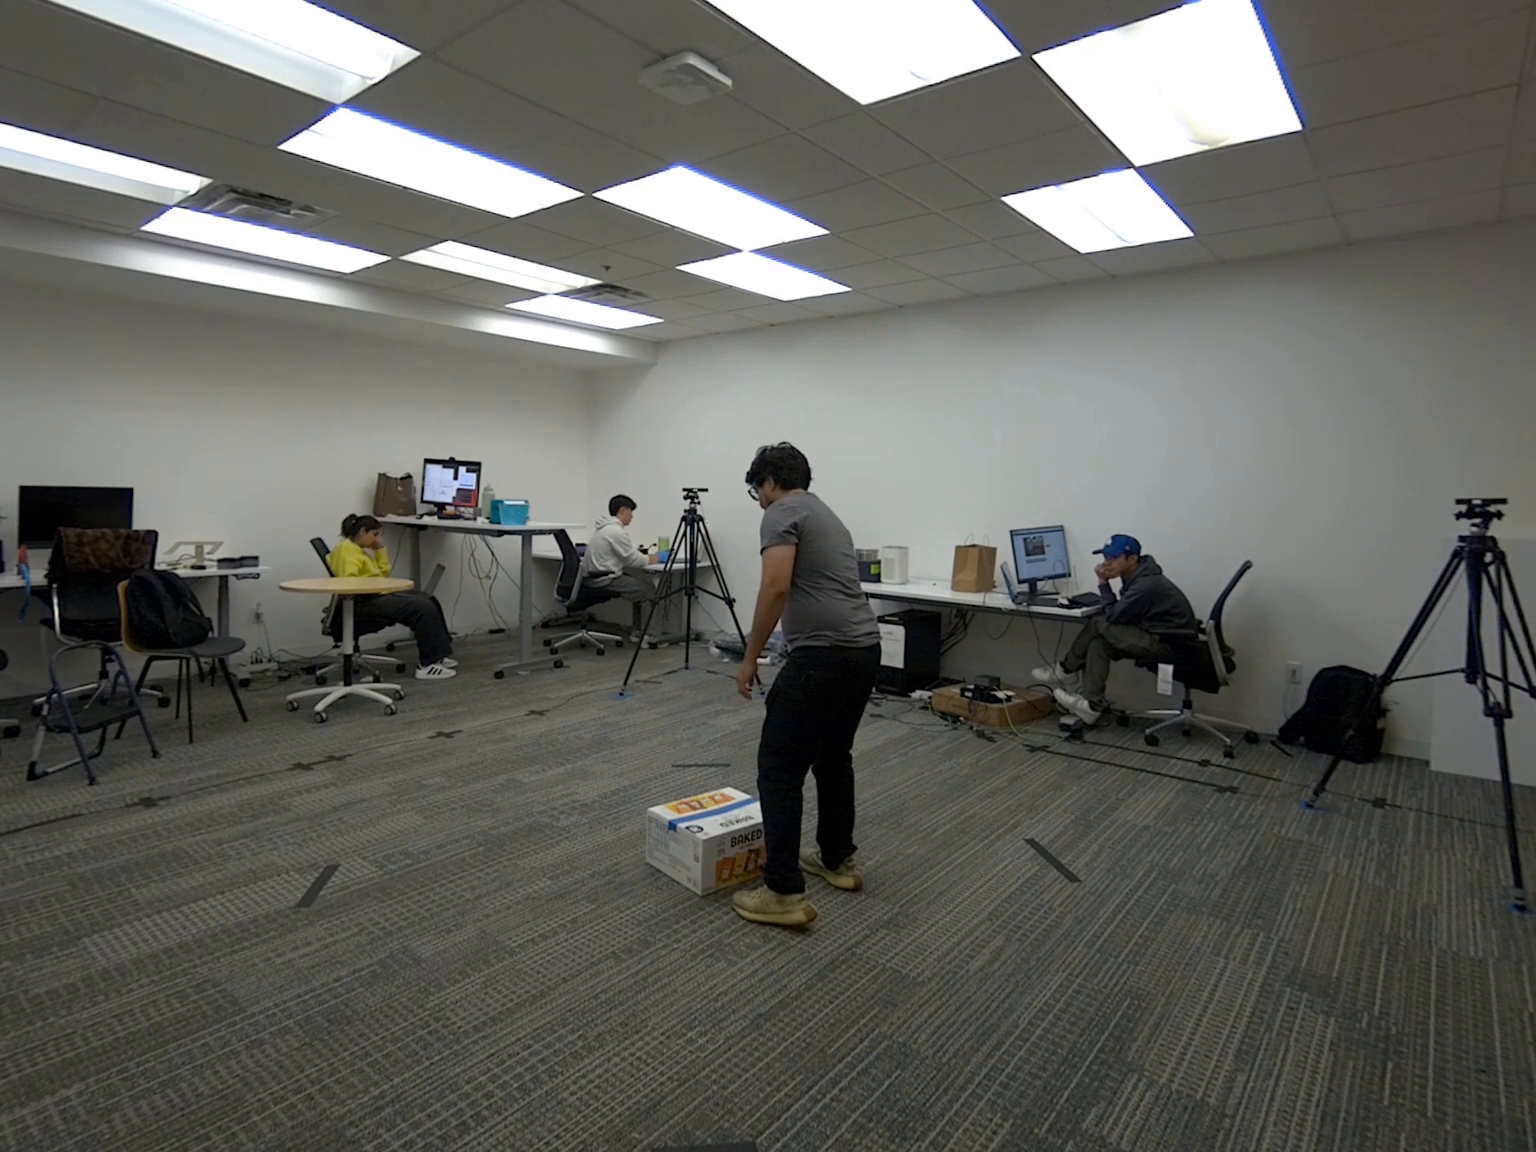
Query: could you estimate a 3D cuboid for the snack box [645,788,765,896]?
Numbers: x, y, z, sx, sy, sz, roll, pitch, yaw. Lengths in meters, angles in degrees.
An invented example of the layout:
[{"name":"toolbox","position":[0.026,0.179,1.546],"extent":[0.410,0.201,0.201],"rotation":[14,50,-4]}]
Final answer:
[{"name":"snack box","position":[-0.201,0.966,3.140],"extent":[0.393,0.205,0.352],"rotation":[-3,6,-41]}]
